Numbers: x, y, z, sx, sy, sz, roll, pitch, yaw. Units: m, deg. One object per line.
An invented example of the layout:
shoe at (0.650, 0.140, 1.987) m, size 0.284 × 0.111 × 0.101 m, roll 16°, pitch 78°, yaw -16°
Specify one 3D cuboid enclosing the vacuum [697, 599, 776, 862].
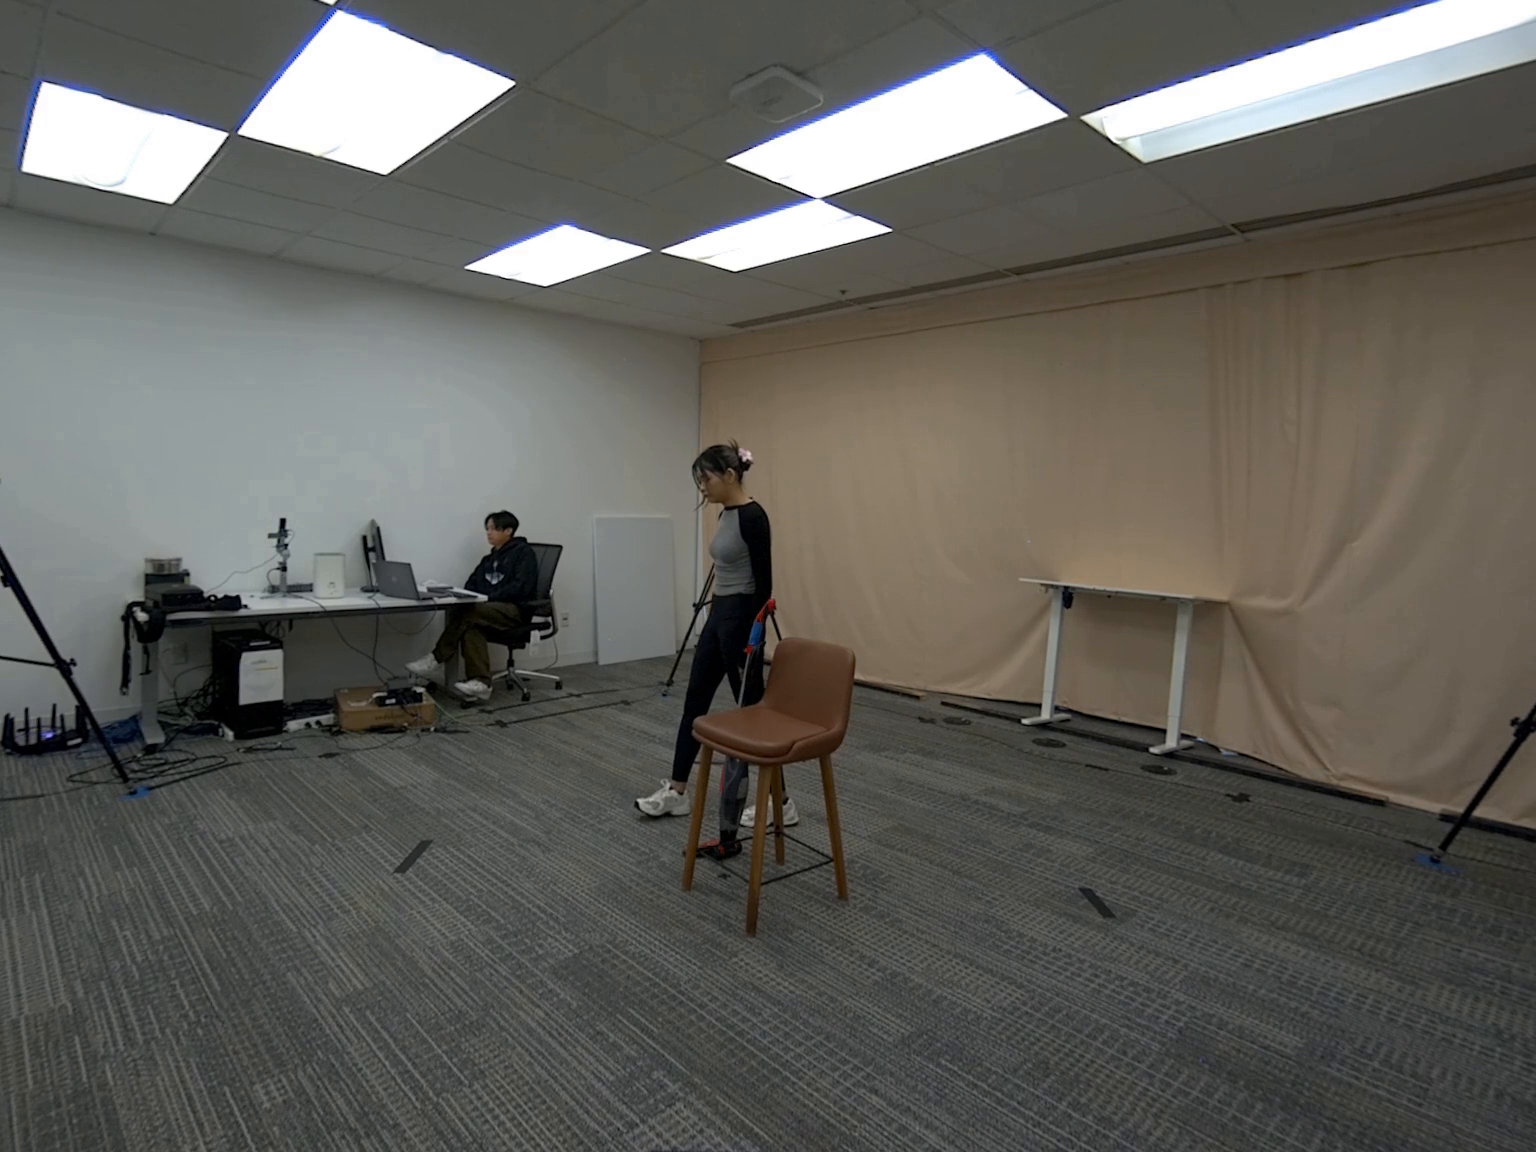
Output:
vacuum at (-0.101, 0.594, 3.196) m, size 0.247 × 1.041 × 0.148 m, roll 2°, pitch 16°, yaw -33°
